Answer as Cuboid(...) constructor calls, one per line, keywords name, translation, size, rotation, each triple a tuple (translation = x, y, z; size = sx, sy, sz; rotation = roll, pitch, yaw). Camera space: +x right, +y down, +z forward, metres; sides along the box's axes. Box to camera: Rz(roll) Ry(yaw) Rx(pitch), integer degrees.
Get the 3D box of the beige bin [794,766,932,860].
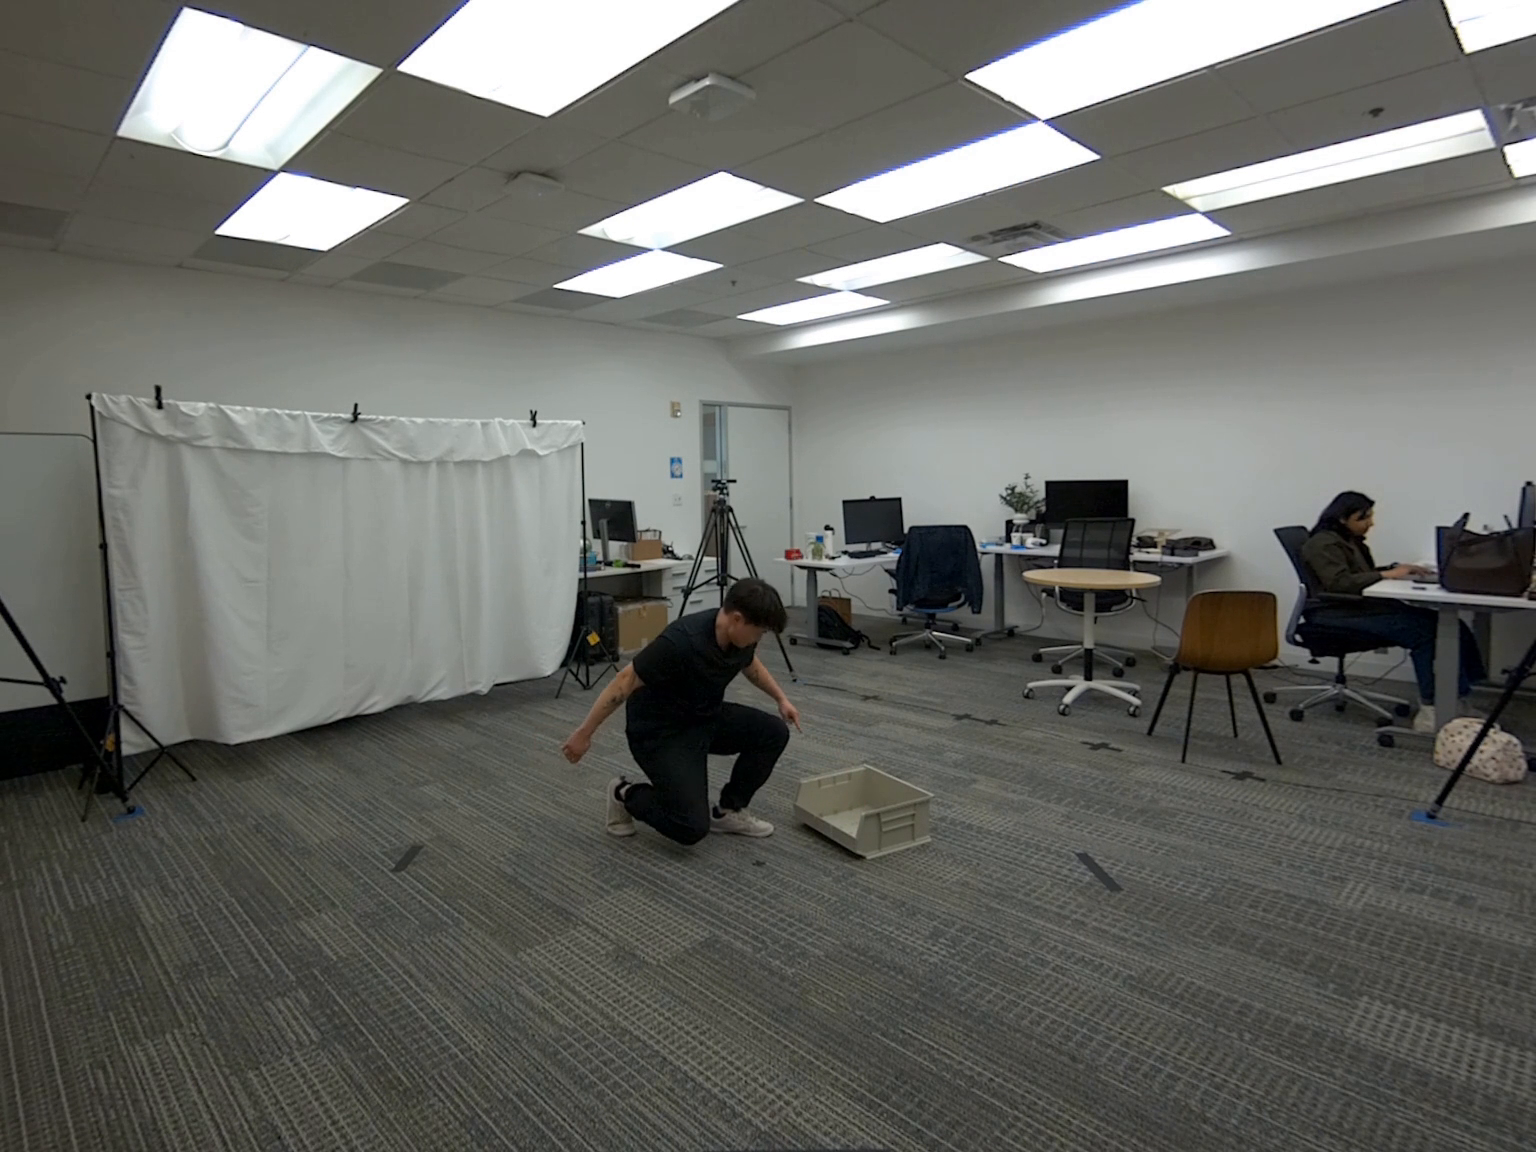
Cuboid(name="beige bin", translation=(0.364, 0.918, 3.358), size=(0.368, 0.188, 0.434), rotation=(-4, 6, -30))
